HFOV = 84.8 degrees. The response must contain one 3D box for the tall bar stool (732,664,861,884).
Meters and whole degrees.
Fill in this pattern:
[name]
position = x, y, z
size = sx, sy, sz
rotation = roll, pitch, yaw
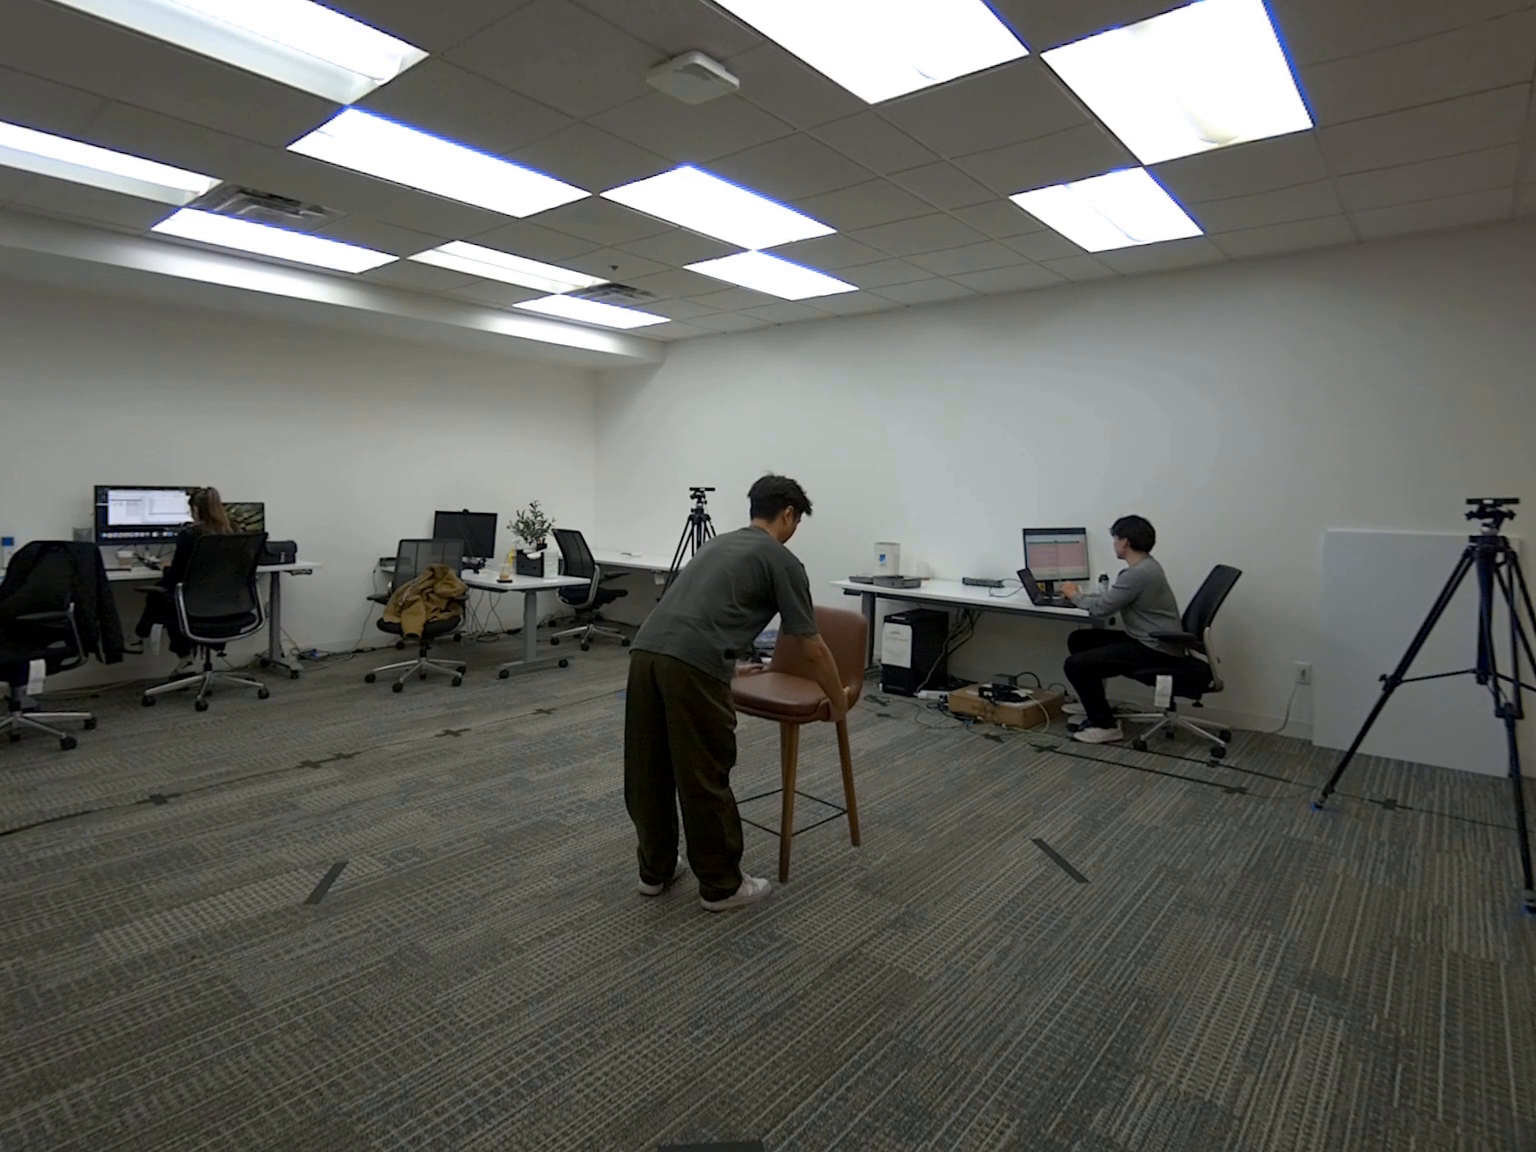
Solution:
[tall bar stool]
position = 0.066, 0.572, 3.145
size = 0.453, 0.887, 0.472
rotation = -1, 4, -44
